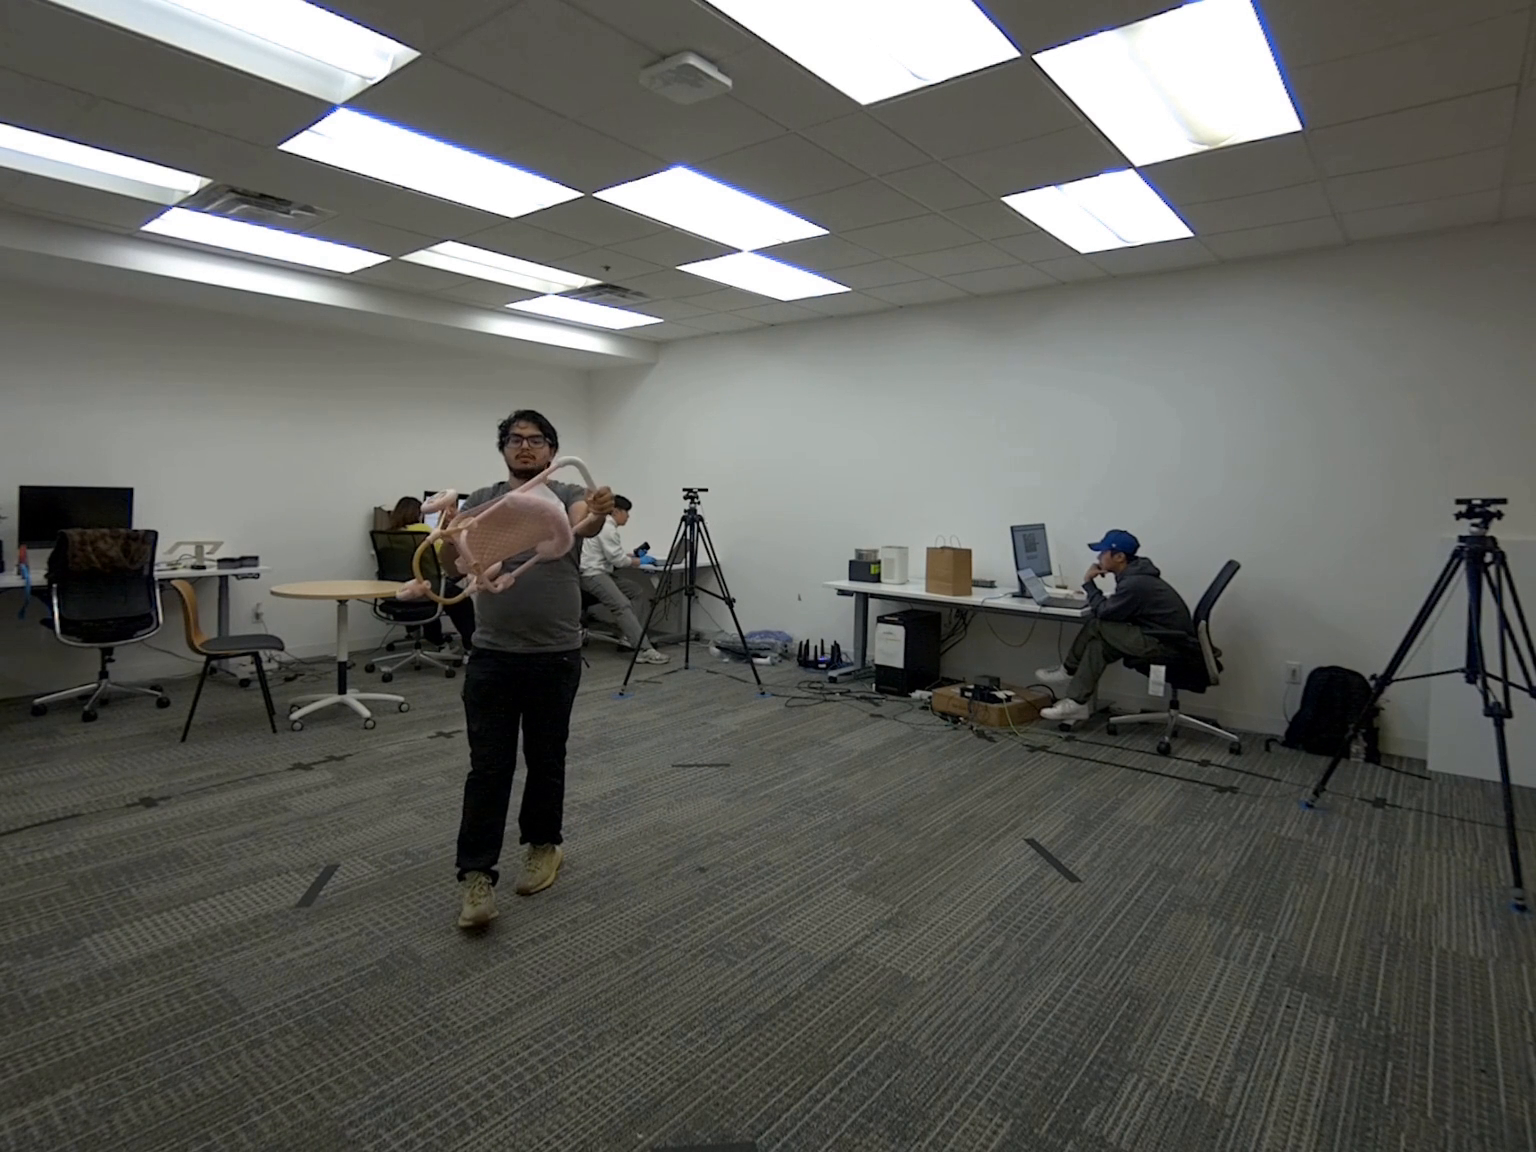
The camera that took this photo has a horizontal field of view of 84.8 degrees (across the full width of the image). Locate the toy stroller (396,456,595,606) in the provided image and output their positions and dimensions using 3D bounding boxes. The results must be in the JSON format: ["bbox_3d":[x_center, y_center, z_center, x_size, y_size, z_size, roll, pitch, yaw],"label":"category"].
[{"bbox_3d":[-0.747,-0.104,2.331,0.541,0.273,0.347,-19,26,16],"label":"toy stroller"}]
